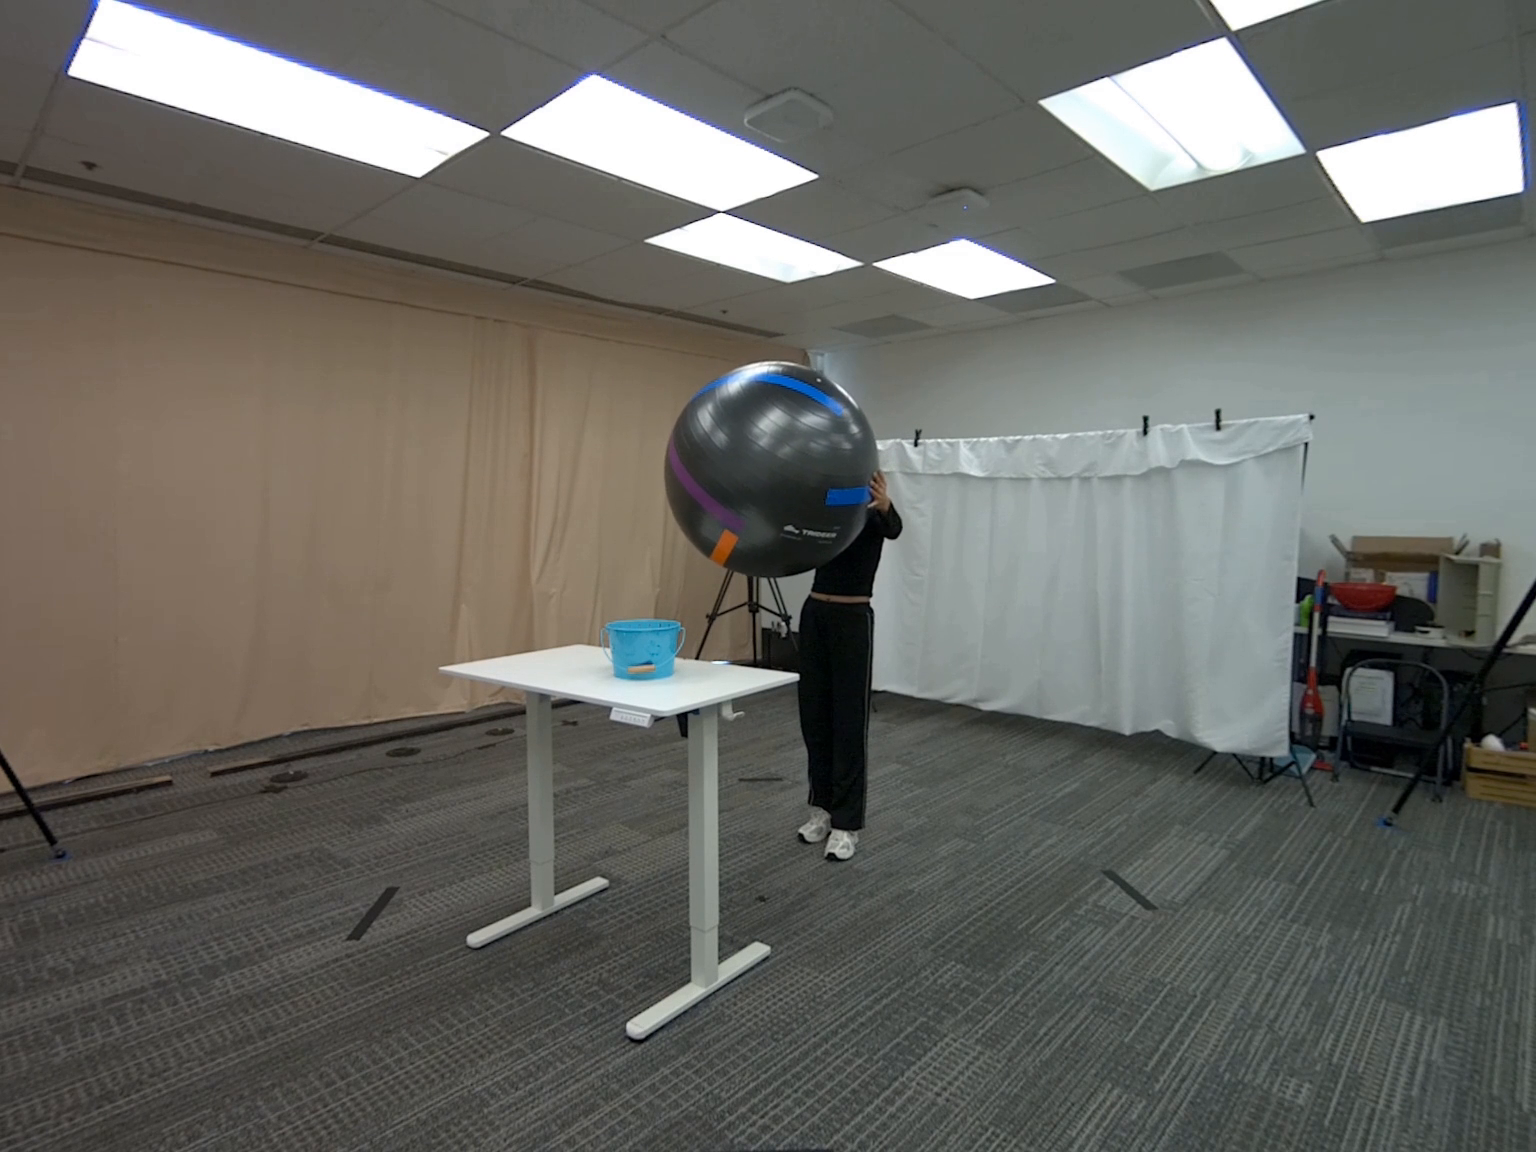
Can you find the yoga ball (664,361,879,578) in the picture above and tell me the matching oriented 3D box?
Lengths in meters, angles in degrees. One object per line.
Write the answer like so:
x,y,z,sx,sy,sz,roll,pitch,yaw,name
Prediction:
0.012,-0.364,2.970,0.757,0.756,0.761,0,4,-2,yoga ball
